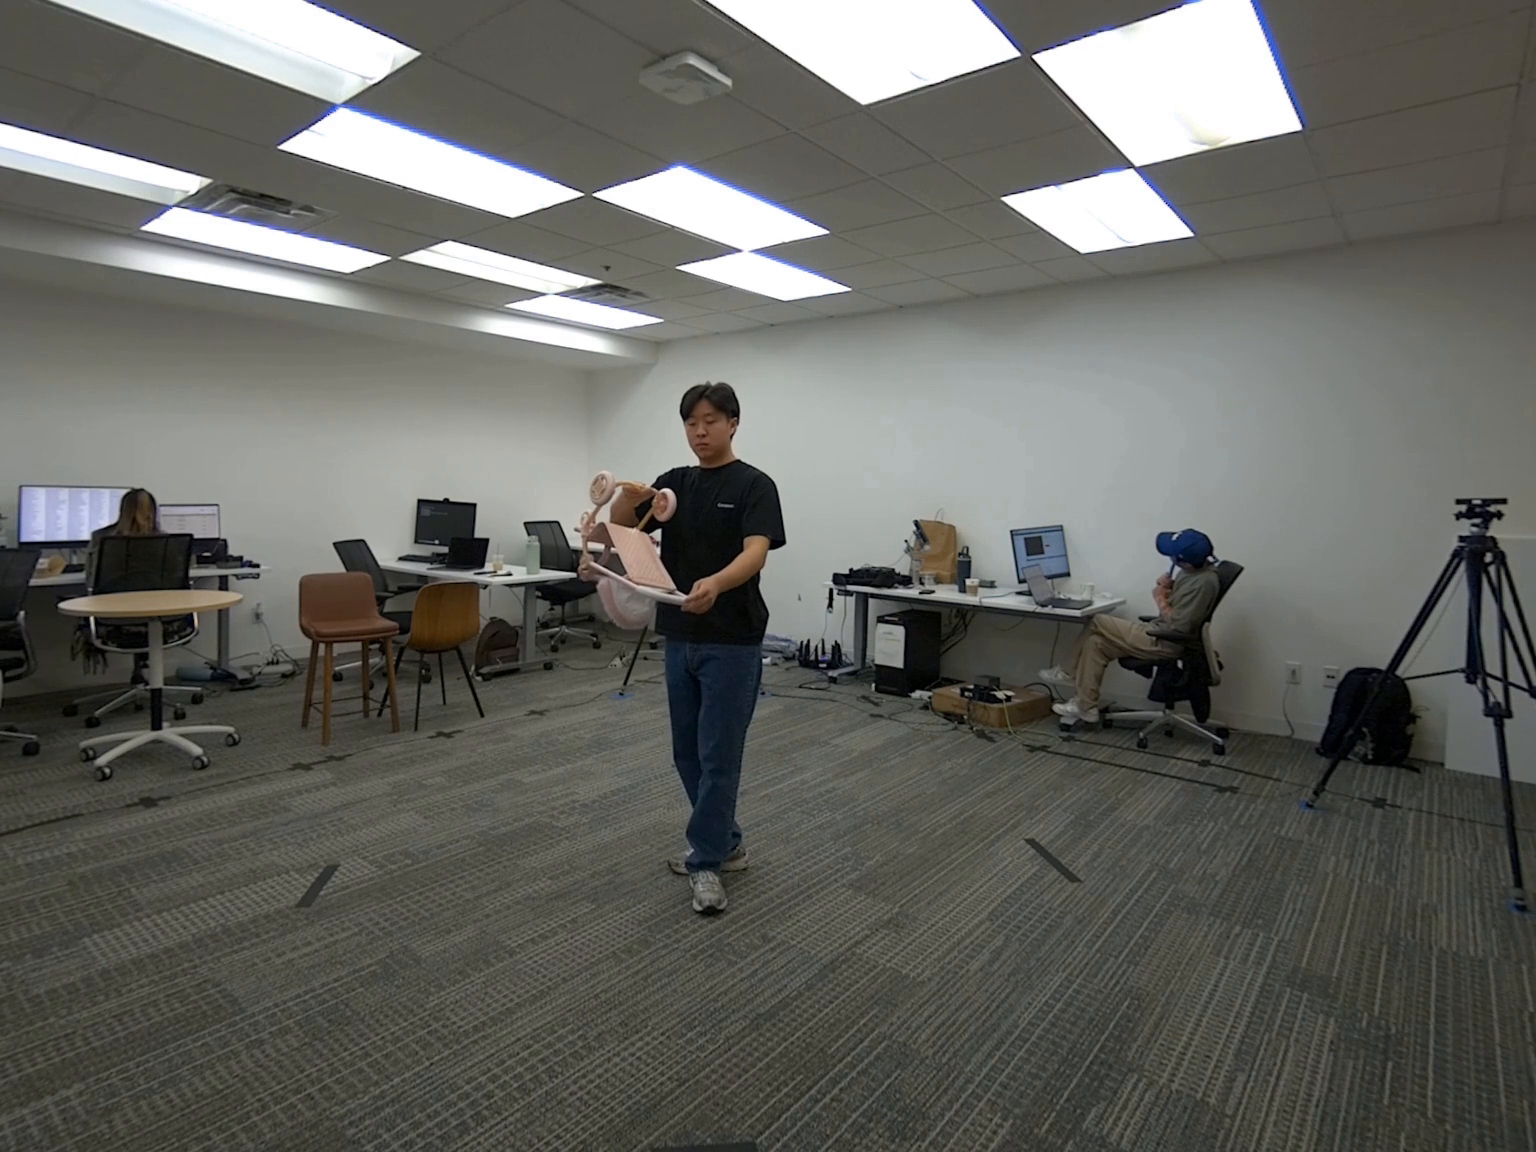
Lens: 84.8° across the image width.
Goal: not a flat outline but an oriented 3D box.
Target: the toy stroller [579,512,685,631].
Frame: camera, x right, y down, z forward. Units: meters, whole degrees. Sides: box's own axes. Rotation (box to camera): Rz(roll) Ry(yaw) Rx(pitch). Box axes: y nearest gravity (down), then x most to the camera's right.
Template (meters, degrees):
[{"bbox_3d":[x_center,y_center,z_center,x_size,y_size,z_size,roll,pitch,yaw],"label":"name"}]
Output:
[{"bbox_3d":[-0.469,-0.067,2.687,0.344,0.553,0.270,-36,-34,27],"label":"toy stroller"}]
